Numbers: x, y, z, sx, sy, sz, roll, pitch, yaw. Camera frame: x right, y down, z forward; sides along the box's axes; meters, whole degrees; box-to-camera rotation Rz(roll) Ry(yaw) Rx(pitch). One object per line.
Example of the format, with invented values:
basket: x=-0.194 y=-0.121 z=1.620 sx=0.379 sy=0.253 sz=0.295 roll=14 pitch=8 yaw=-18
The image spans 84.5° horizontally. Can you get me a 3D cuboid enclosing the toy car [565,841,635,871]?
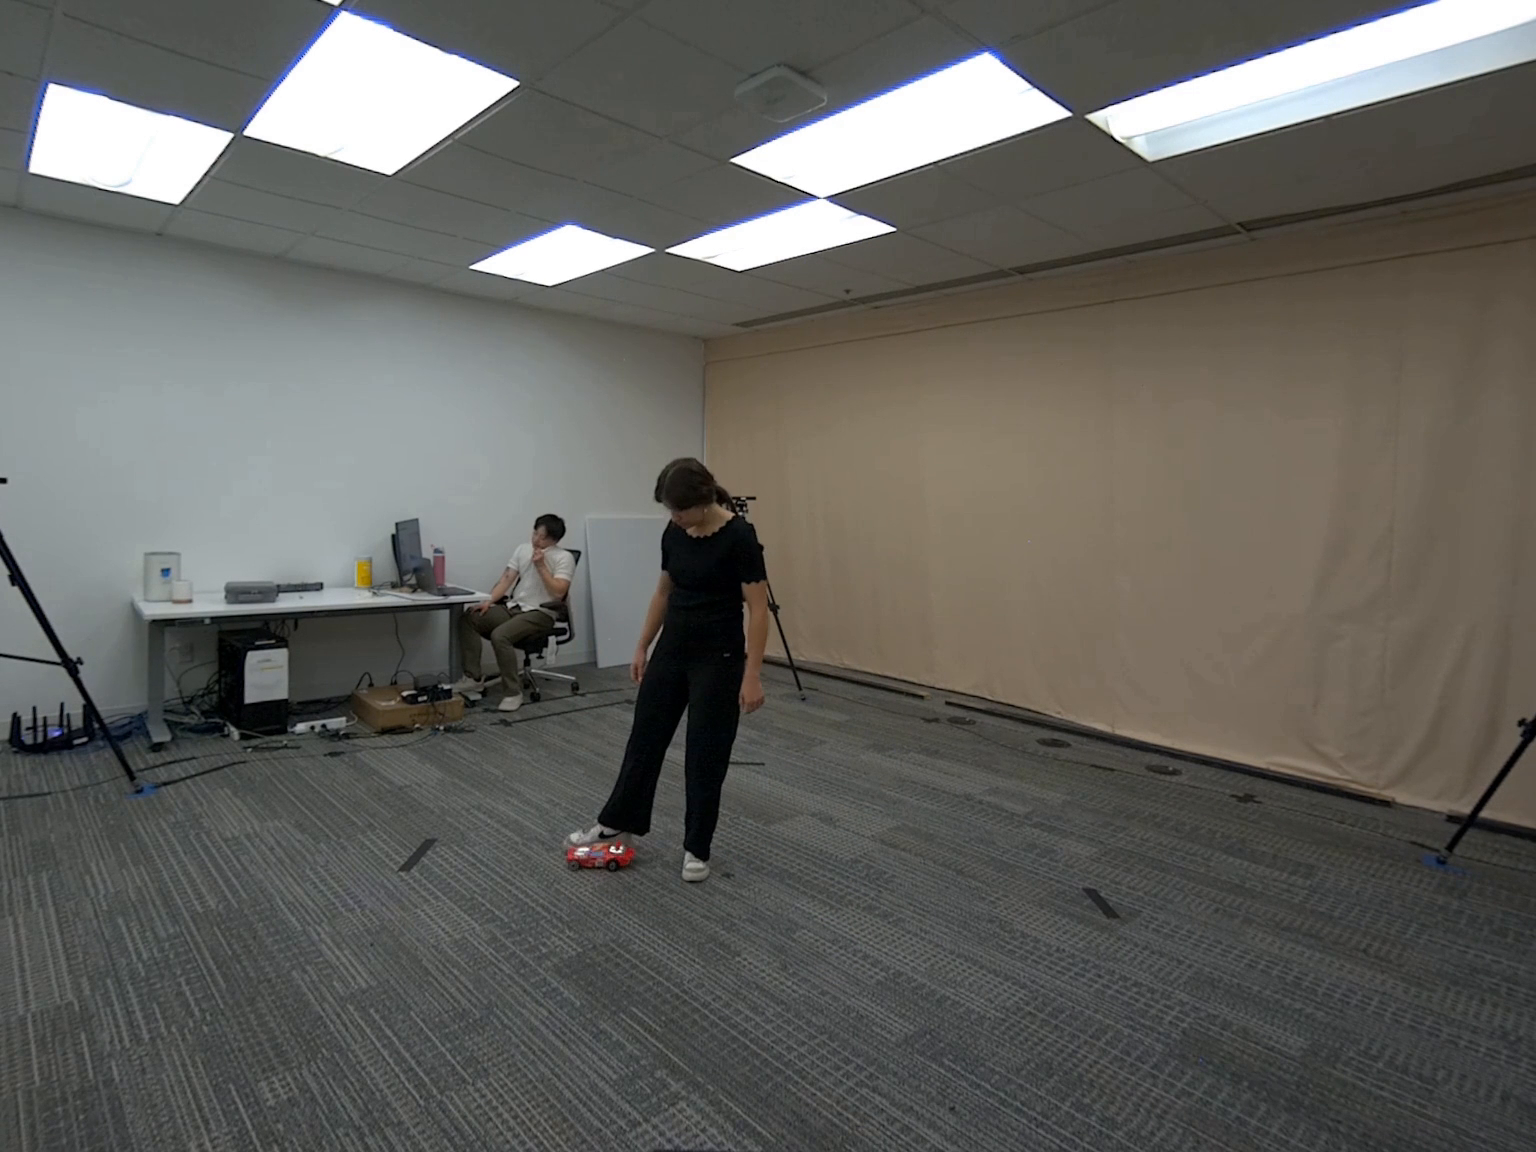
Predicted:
toy car: x=-0.625 y=1.052 z=3.163 sx=0.255 sy=0.083 sz=0.130 roll=-10 pitch=4 yaw=2
